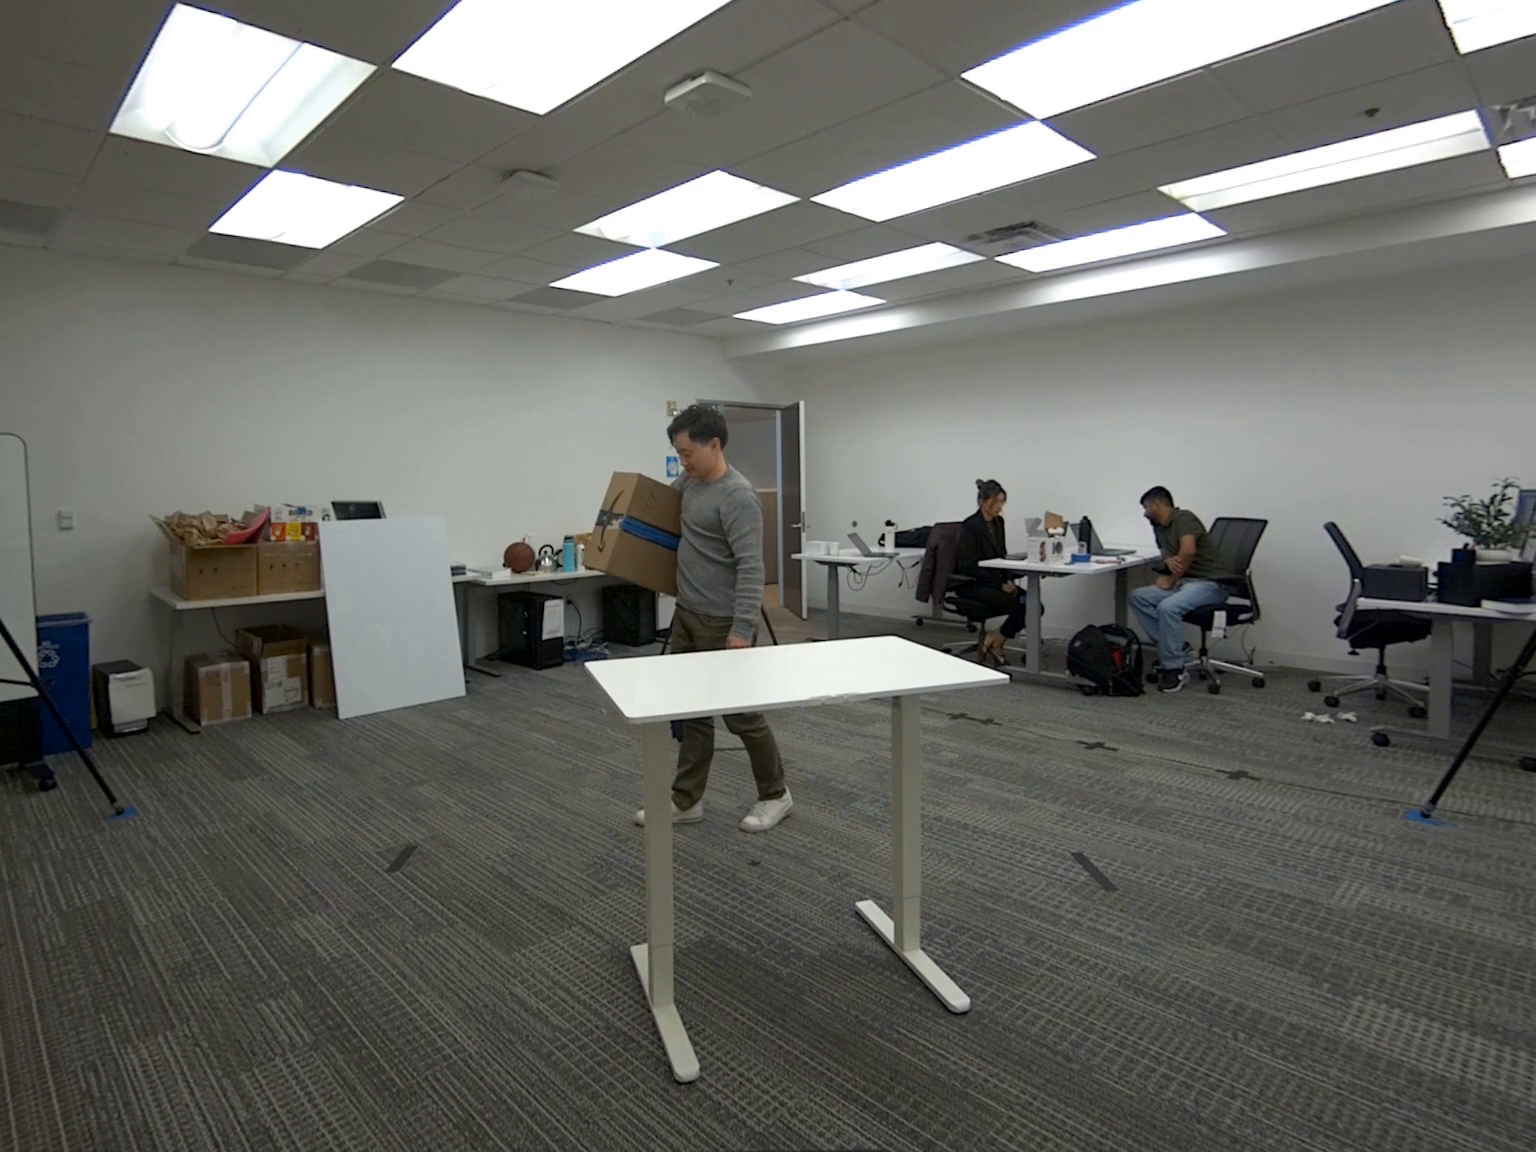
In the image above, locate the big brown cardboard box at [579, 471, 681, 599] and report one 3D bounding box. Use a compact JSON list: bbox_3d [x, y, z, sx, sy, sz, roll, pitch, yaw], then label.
[{"bbox_3d":[-0.429,-0.143,3.611,0.569,0.419,0.240,20,-7,-36],"label":"big brown cardboard box"}]
